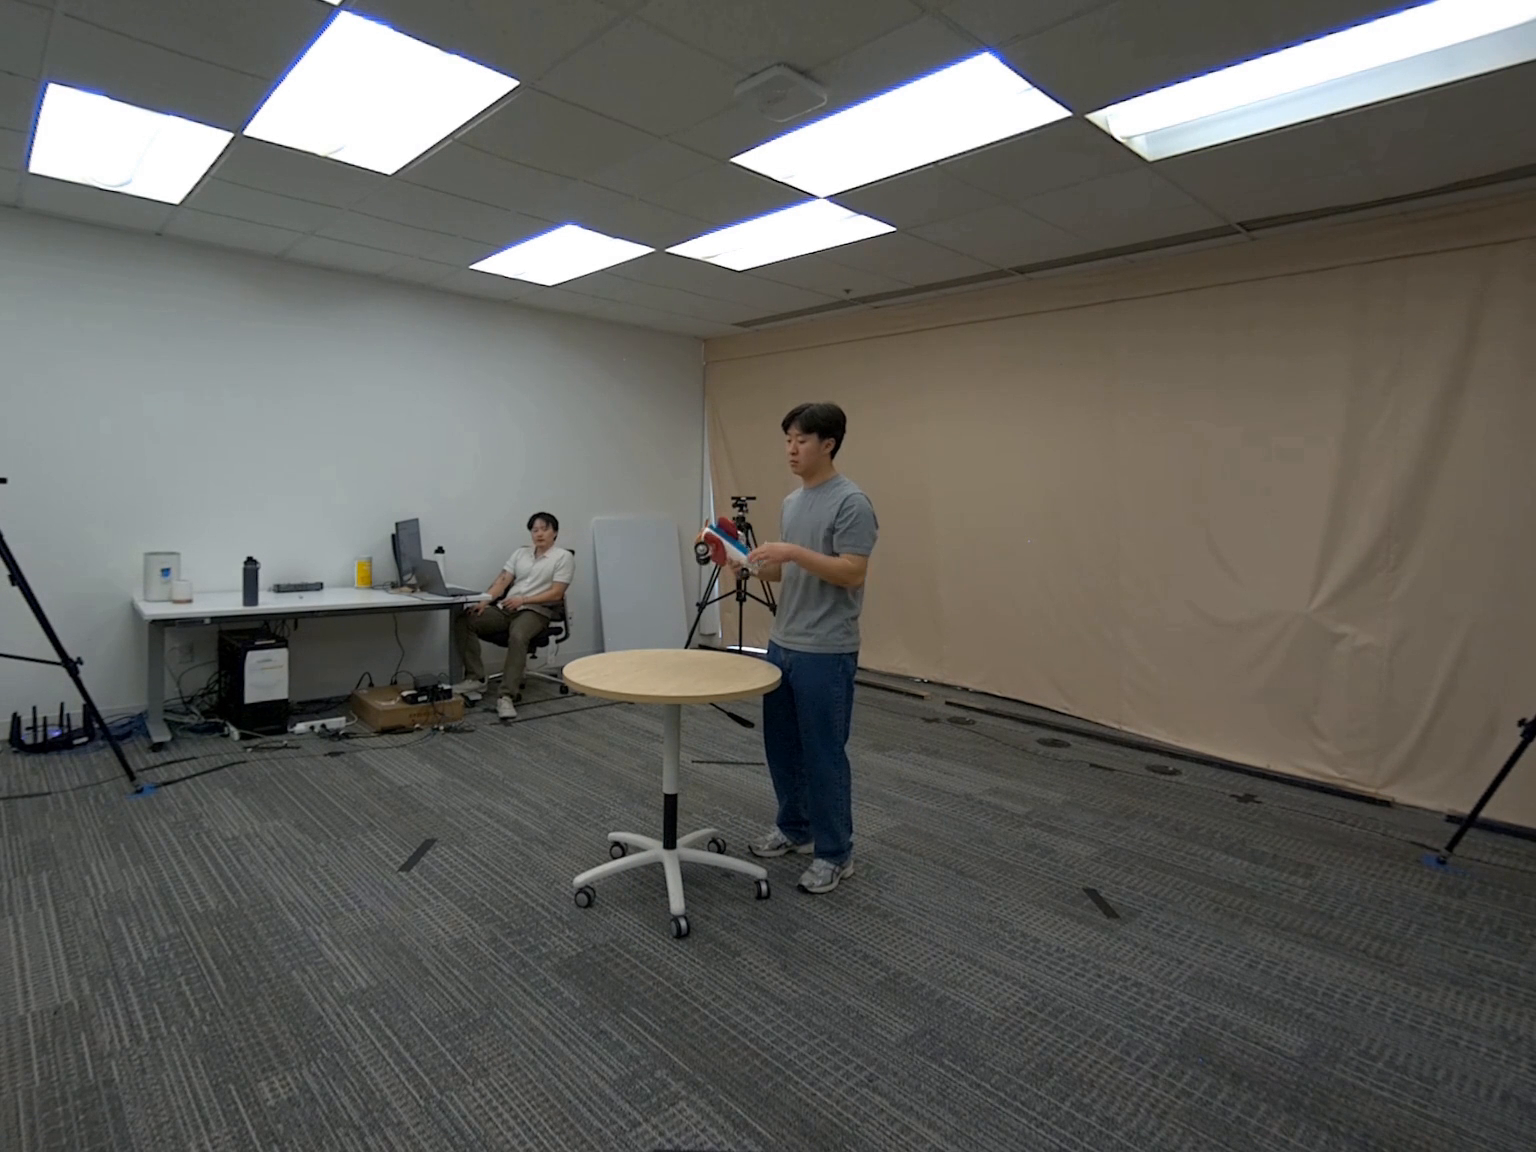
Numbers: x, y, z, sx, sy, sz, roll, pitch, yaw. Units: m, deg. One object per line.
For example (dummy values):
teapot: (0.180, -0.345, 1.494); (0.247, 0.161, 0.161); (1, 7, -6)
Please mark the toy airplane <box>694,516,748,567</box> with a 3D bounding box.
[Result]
toy airplane: (-0.144, -0.082, 3.098); (0.255, 0.157, 0.254); (32, -20, -17)
